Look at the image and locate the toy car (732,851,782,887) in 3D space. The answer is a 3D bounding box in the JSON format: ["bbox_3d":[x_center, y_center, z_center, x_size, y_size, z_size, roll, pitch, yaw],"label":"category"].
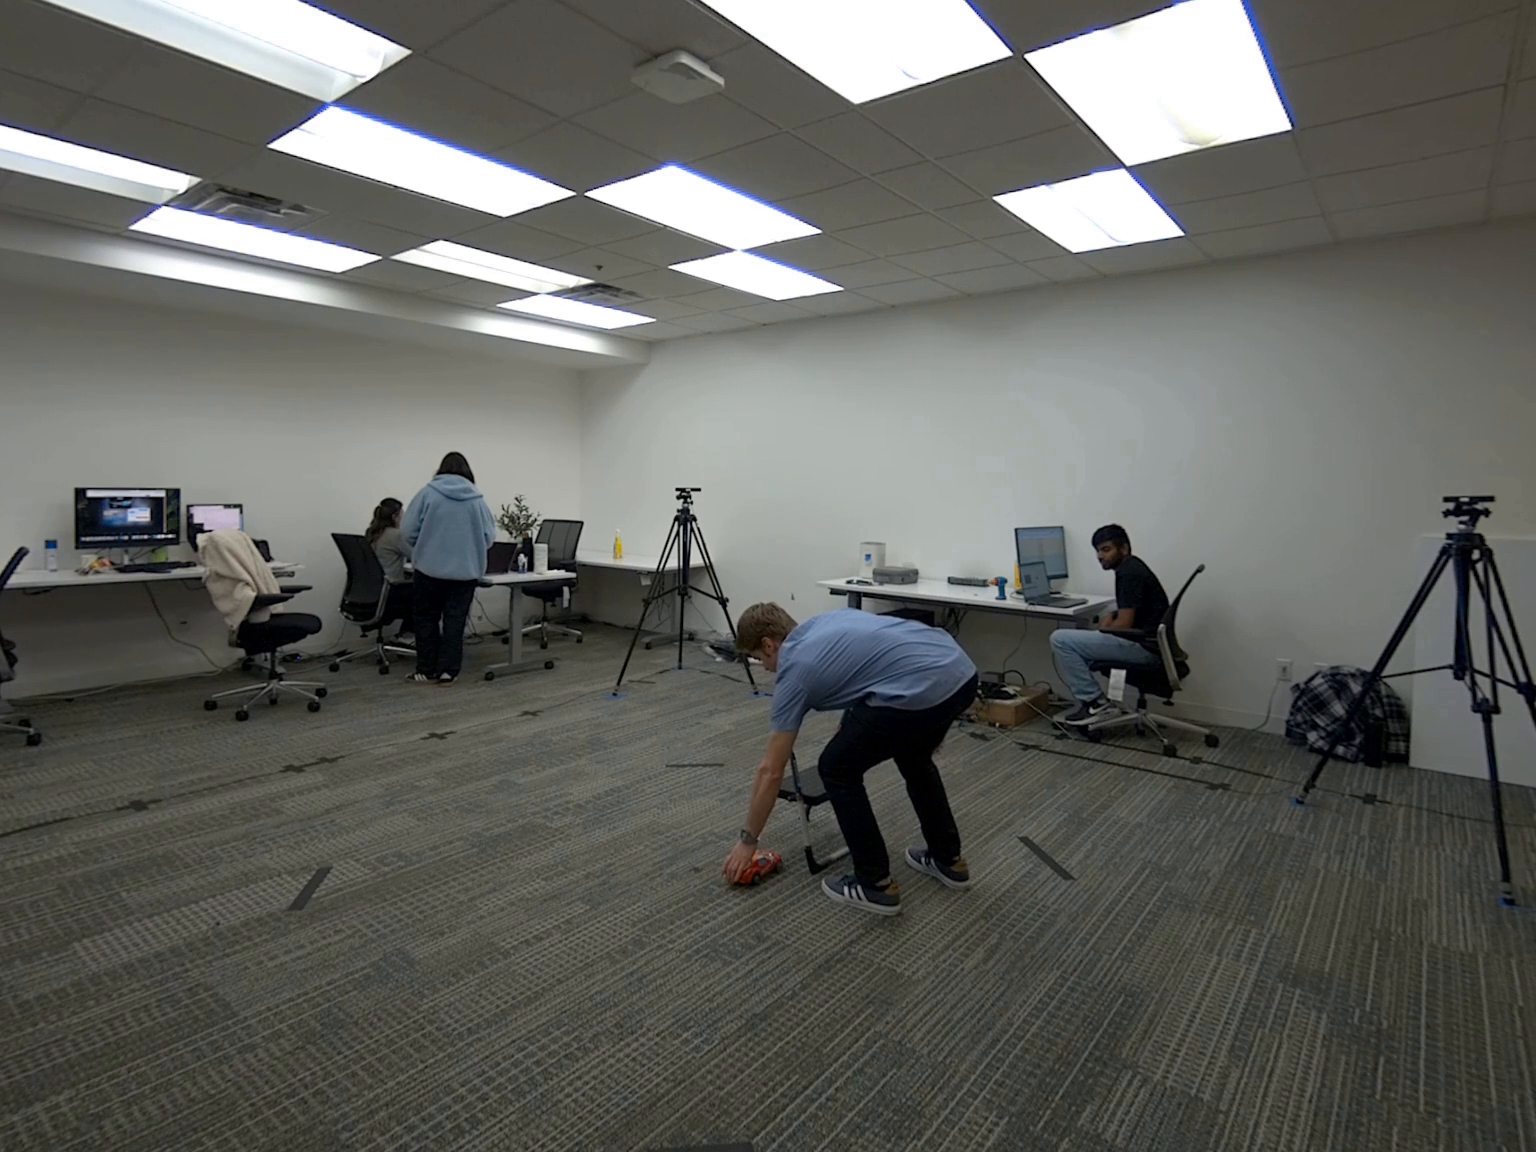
[{"bbox_3d":[-0.059,1.046,3.070,0.135,0.083,0.245,6,-4,38],"label":"toy car"}]
